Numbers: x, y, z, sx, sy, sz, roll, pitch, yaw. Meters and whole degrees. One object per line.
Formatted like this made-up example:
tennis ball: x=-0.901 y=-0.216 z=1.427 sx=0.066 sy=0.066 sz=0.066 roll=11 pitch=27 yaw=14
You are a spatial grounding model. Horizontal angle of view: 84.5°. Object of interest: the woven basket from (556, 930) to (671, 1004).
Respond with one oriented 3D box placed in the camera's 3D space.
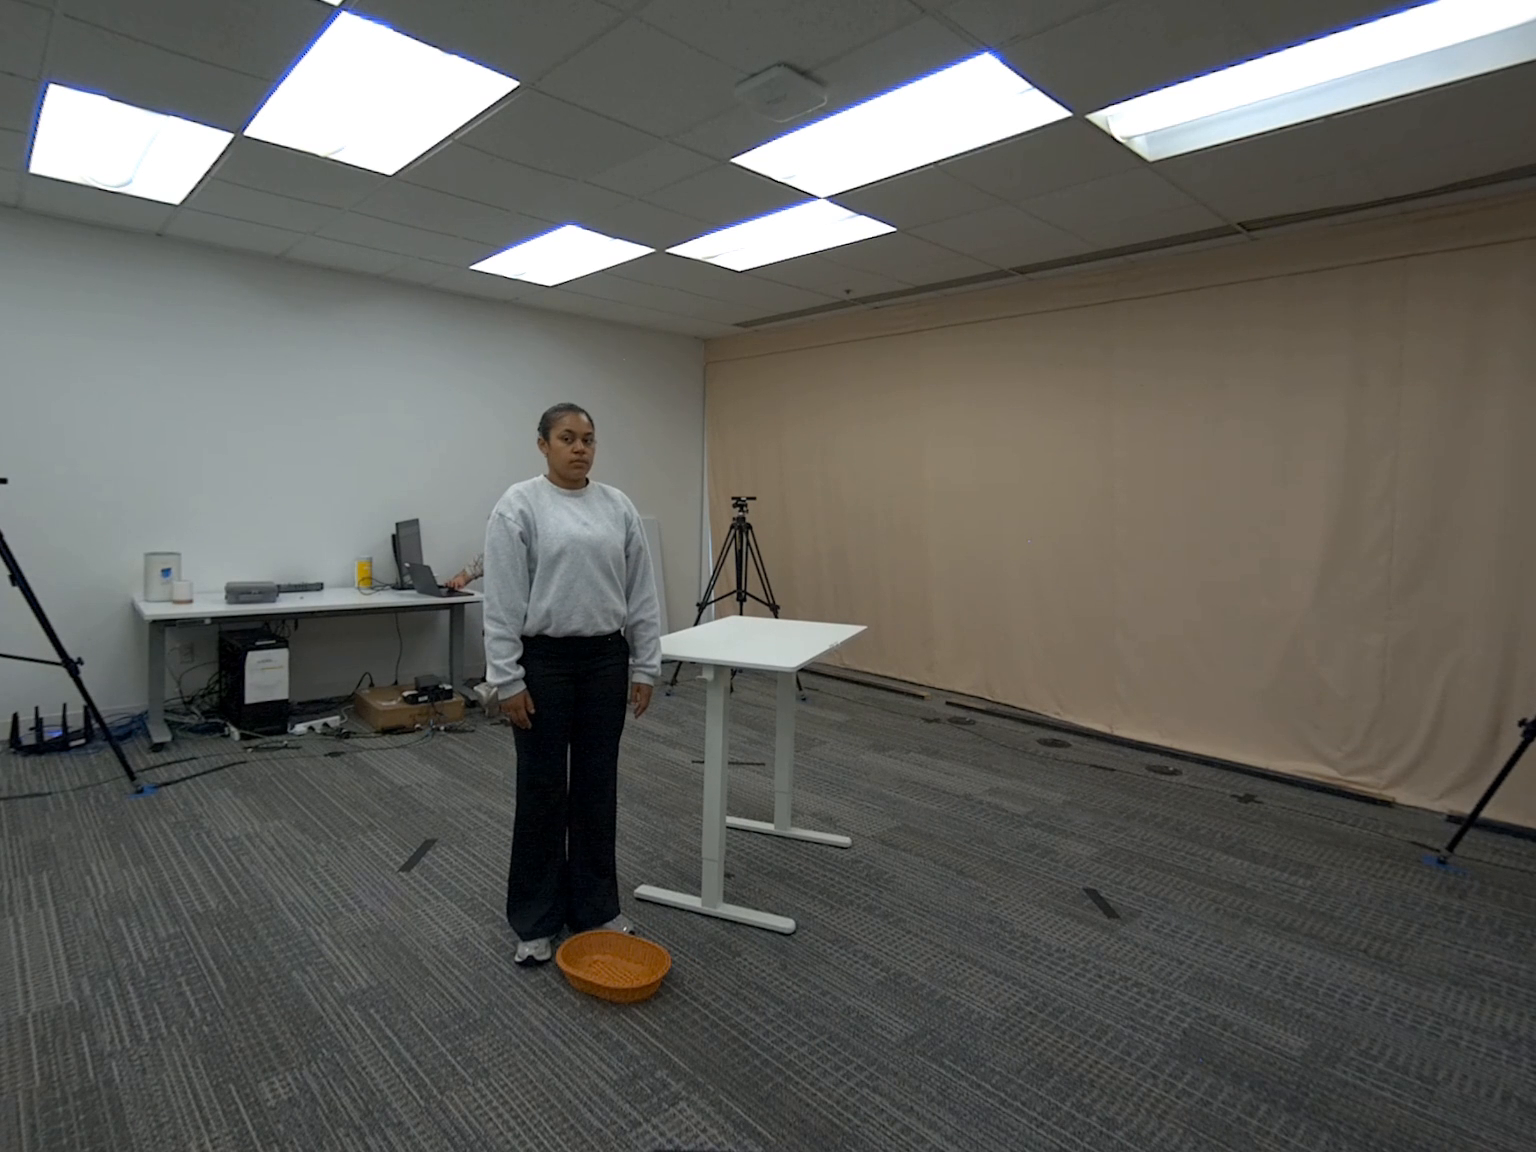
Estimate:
woven basket: x=-0.455 y=1.121 z=2.417 sx=0.358 sy=0.073 sz=0.248 roll=5 pitch=7 yaw=30
